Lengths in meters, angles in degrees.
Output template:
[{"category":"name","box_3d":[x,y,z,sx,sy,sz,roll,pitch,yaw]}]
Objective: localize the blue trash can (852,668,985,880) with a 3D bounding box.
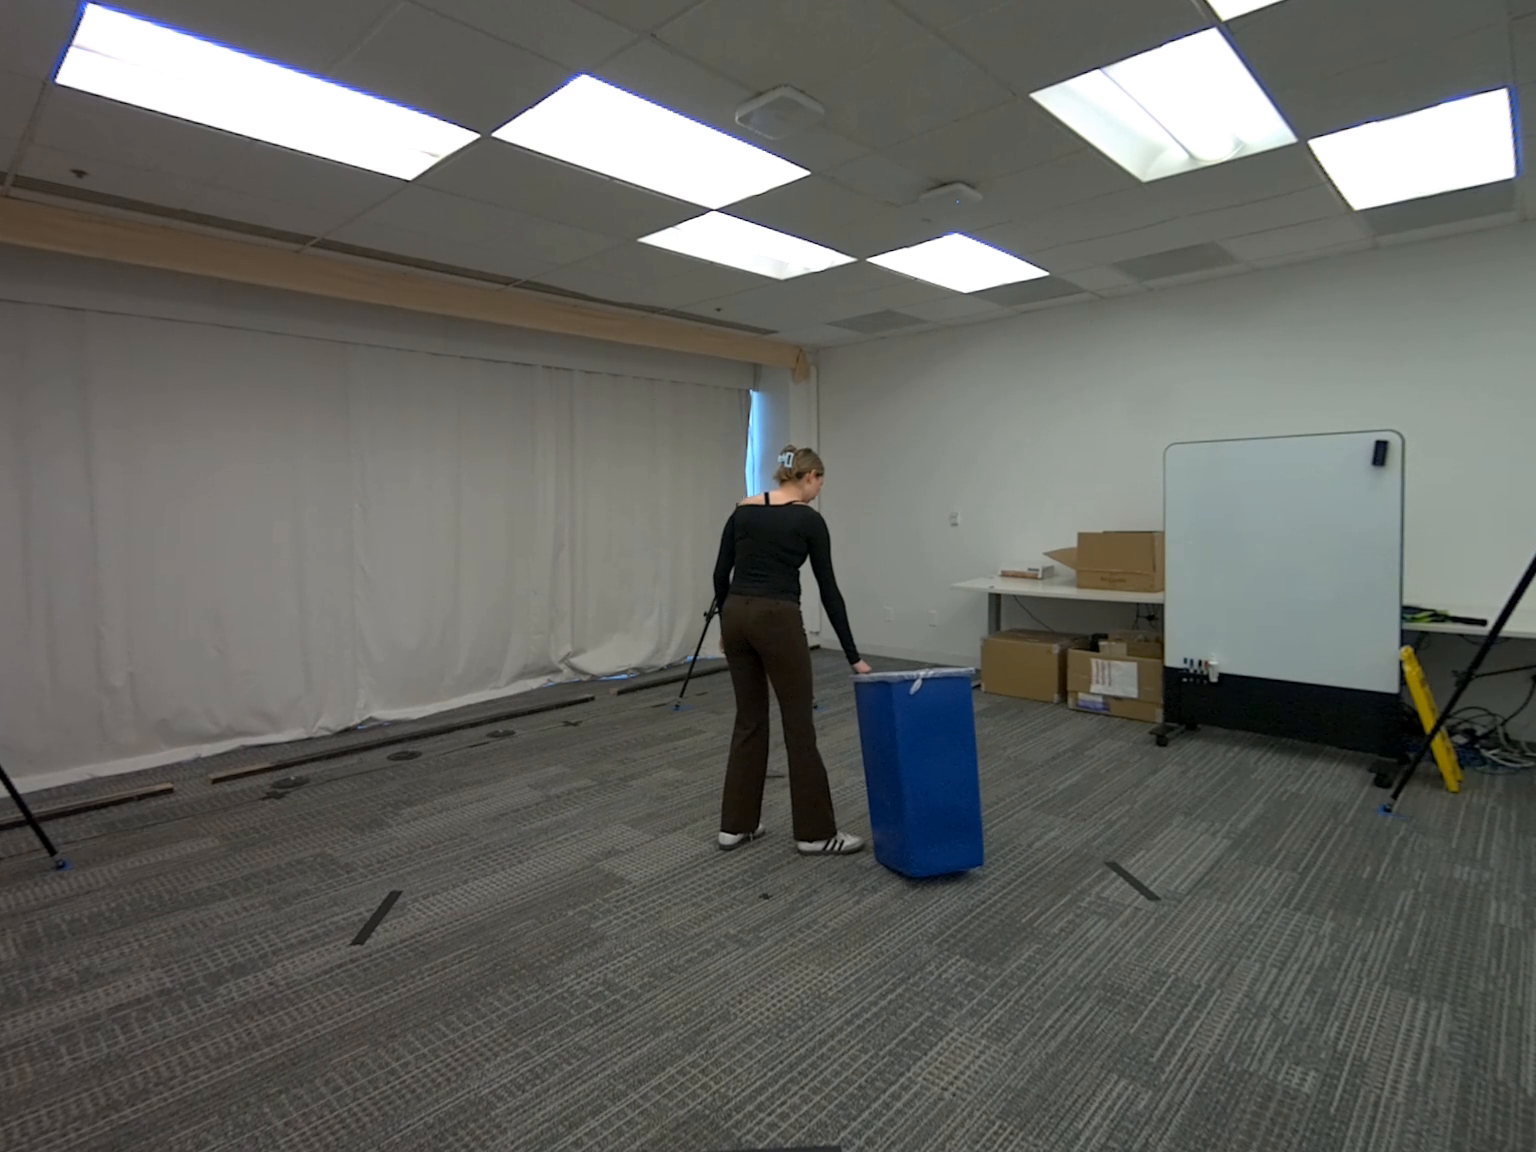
[{"category":"blue trash can","box_3d":[0.576,0.727,3.222,0.371,0.717,0.379,-1,-8,-20]}]
